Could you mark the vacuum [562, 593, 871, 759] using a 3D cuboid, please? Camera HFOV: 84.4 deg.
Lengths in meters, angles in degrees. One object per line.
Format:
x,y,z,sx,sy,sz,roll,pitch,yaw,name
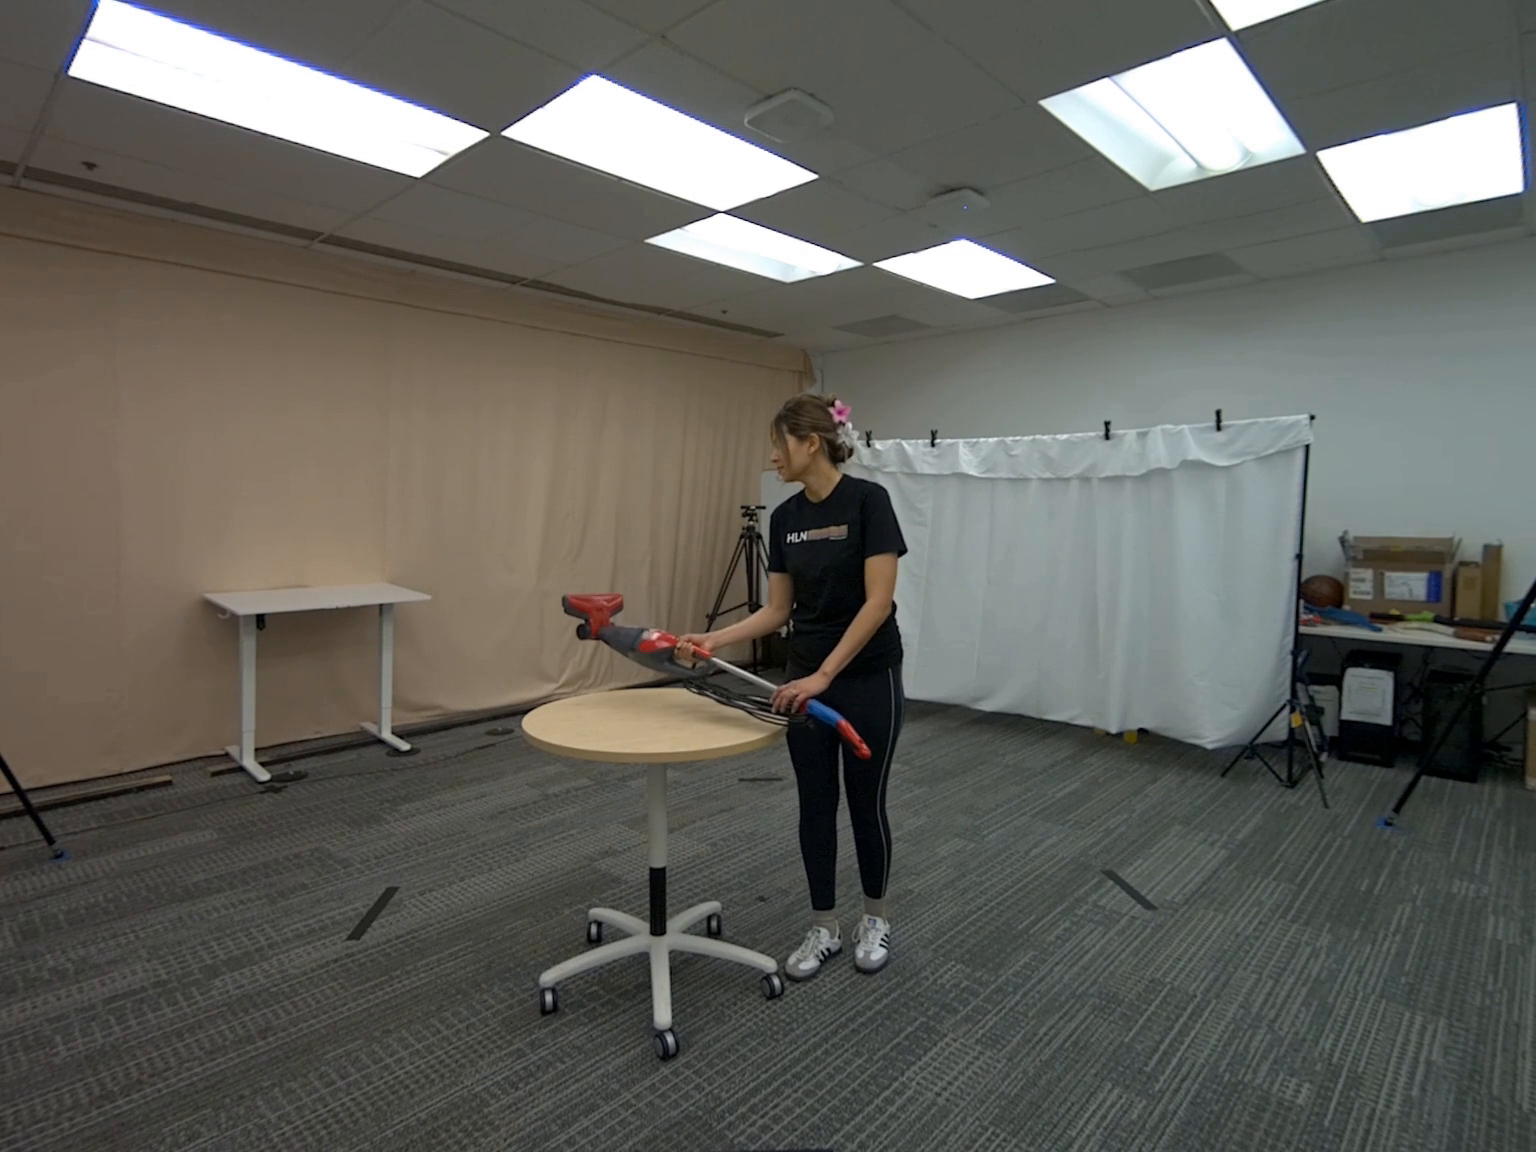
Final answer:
-0.167,0.286,2.414,1.087,0.143,0.245,21,14,36,vacuum
